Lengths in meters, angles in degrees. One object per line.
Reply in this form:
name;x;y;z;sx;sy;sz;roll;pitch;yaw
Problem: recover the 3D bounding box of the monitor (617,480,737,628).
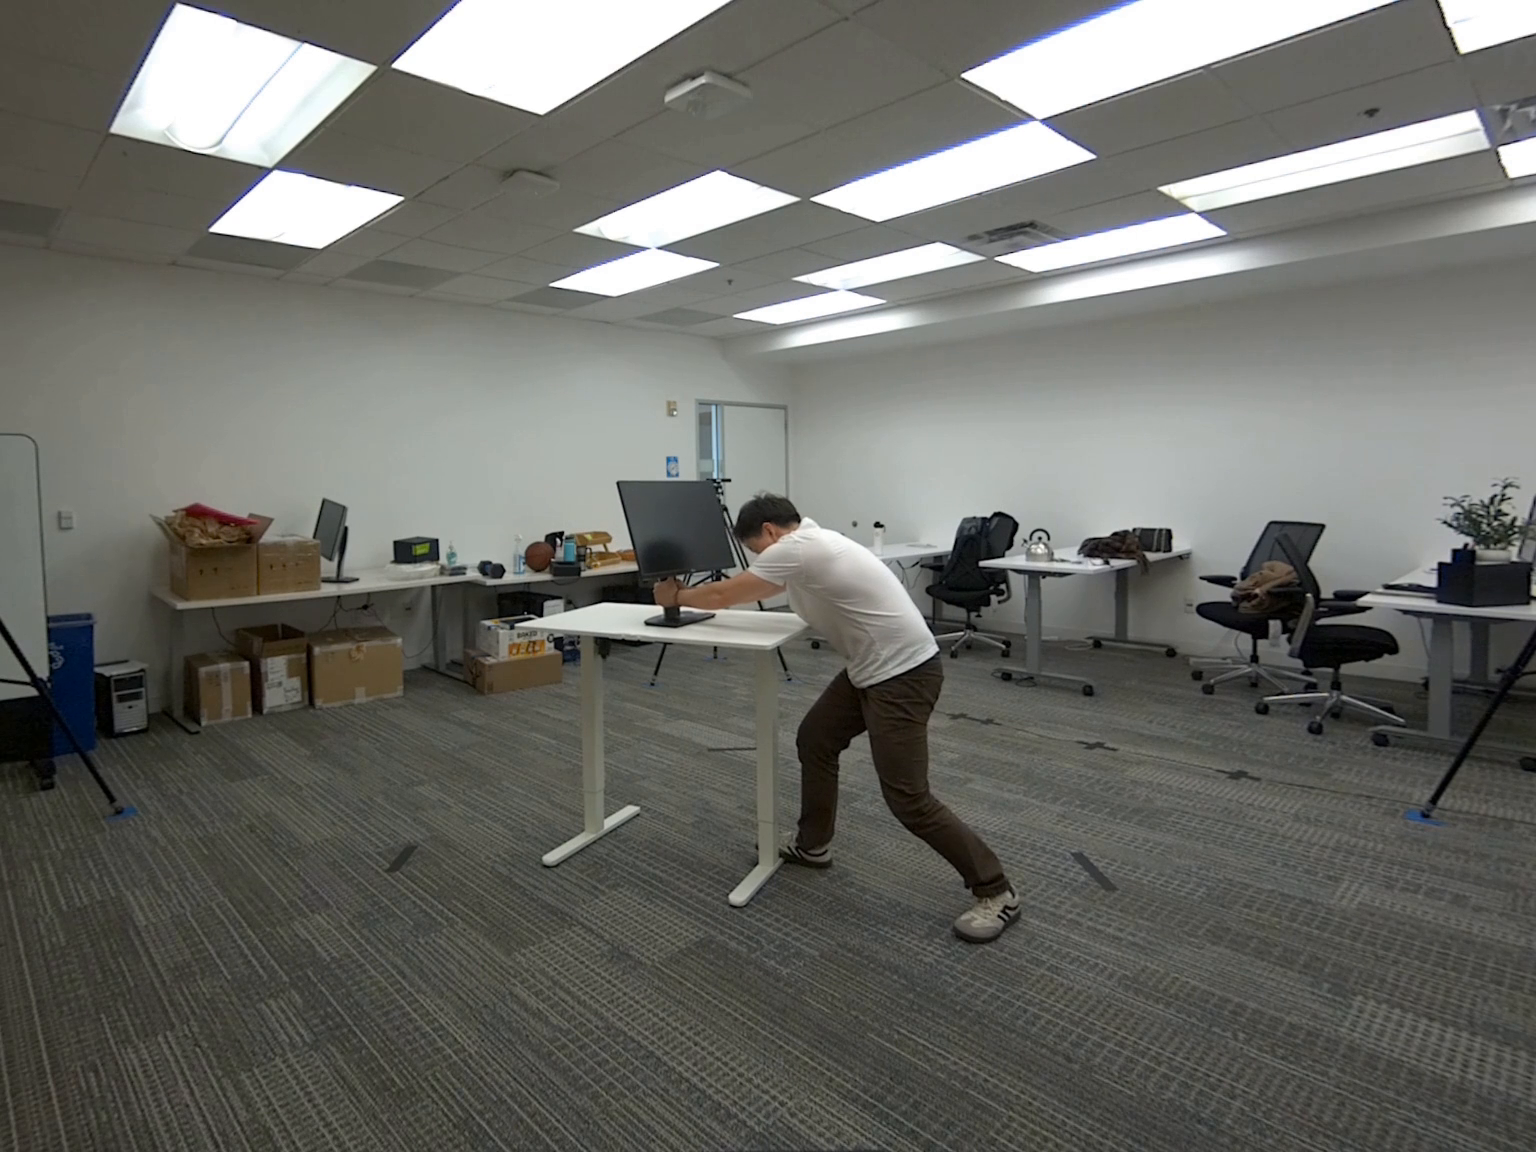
monitor;-0.336;-0.092;3.130;0.192;0.522;0.526;-3;2;33
